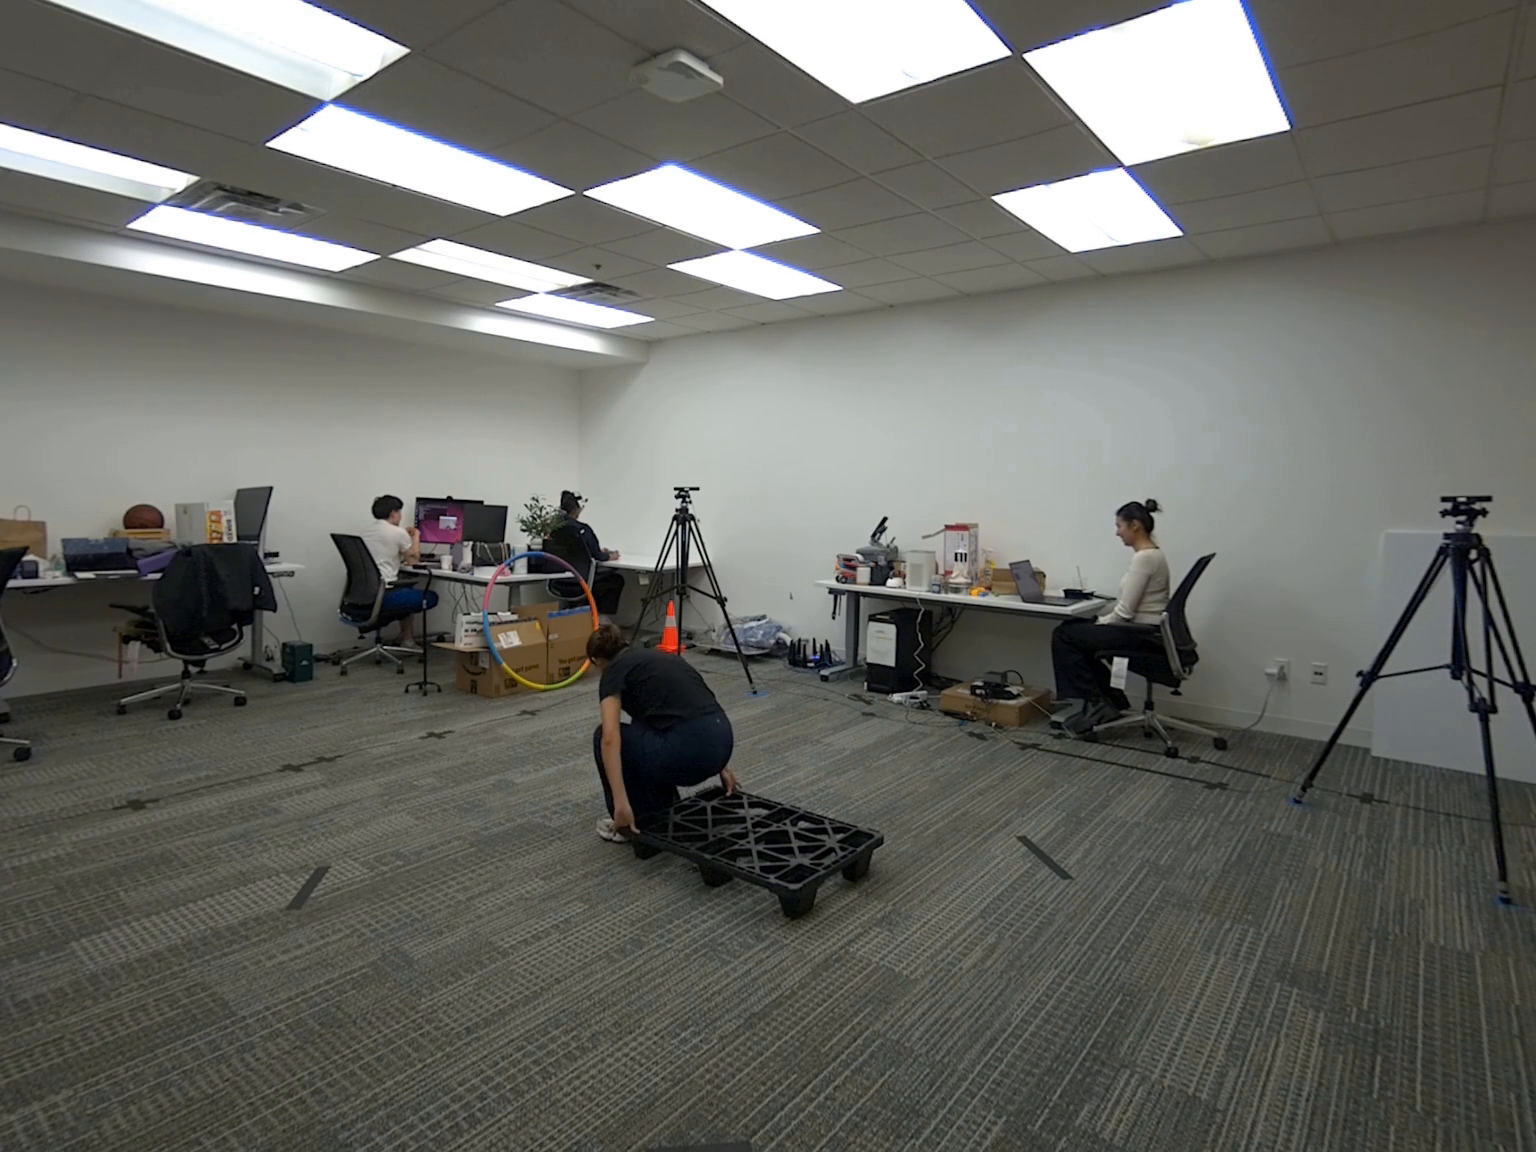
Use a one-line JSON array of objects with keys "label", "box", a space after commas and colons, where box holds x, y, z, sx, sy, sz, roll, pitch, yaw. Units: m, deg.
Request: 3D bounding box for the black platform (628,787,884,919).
[{"label": "black platform", "box": [-0.048, 1.000, 3.160, 0.832, 0.143, 0.587, 5, 6, 38]}]
